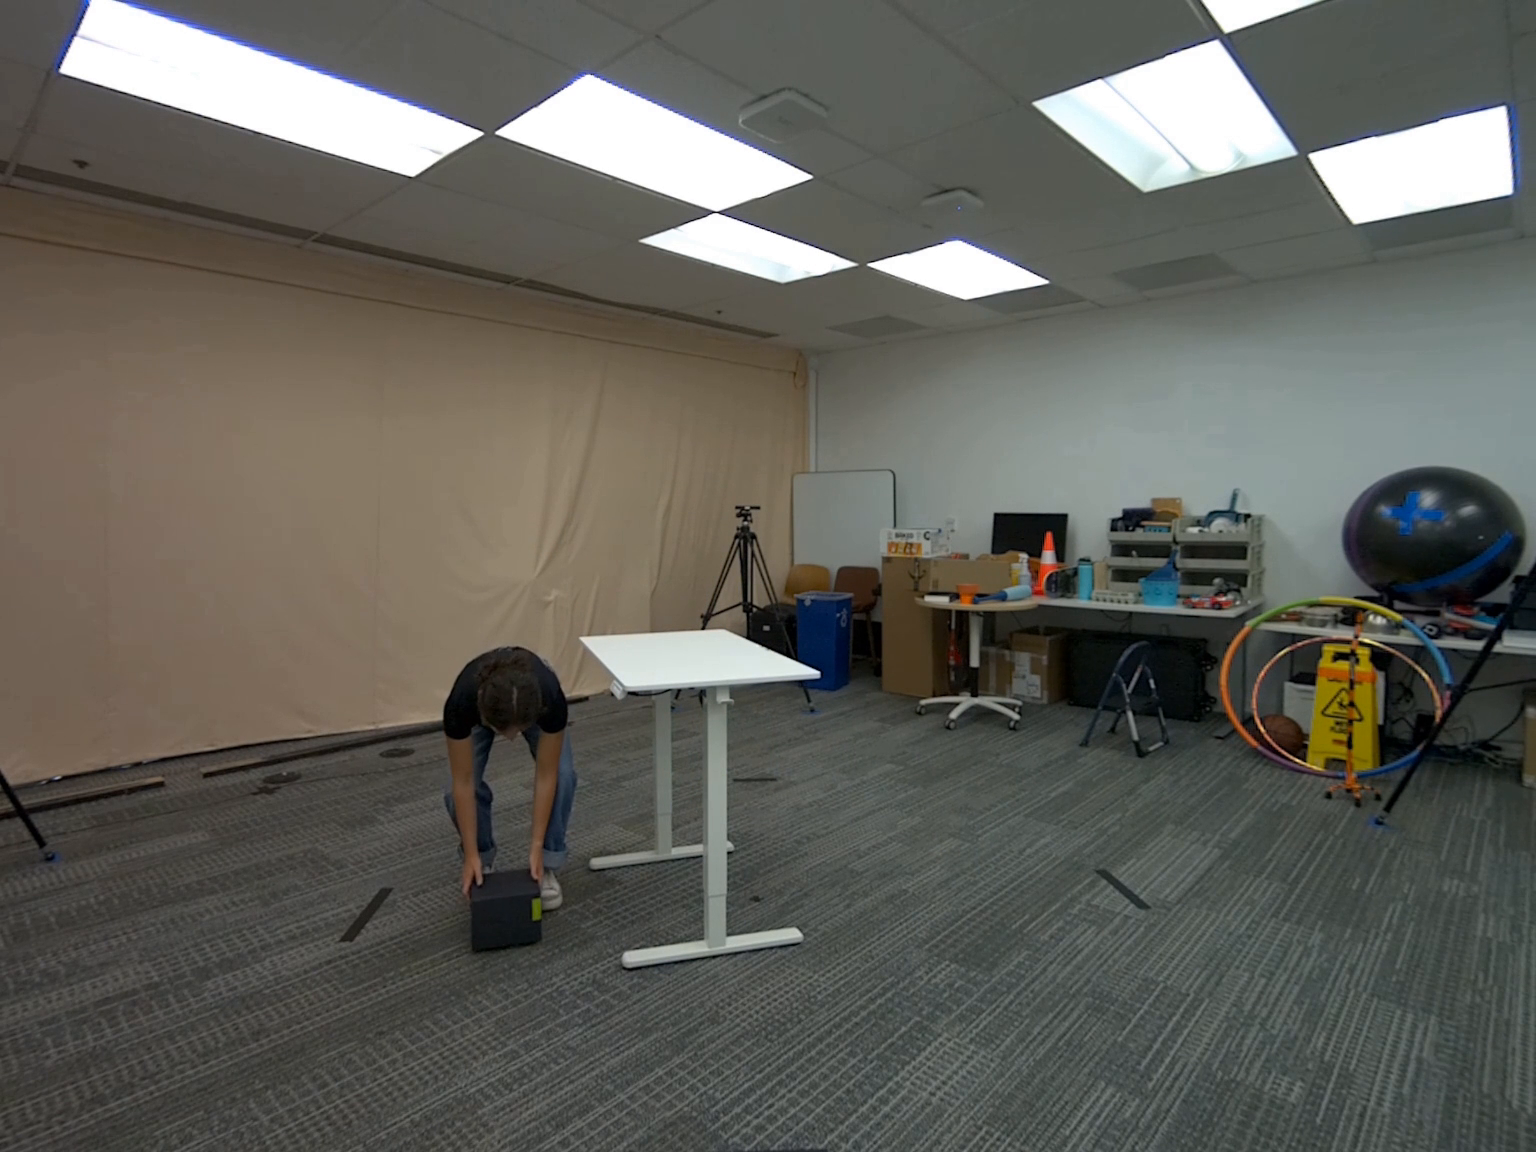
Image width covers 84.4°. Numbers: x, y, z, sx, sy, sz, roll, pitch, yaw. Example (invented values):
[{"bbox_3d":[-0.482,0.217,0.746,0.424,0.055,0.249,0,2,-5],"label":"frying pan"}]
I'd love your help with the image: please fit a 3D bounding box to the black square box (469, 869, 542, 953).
[{"bbox_3d":[-0.864,1.081,2.747,0.212,0.156,0.232,-1,0,-21],"label":"black square box"}]
